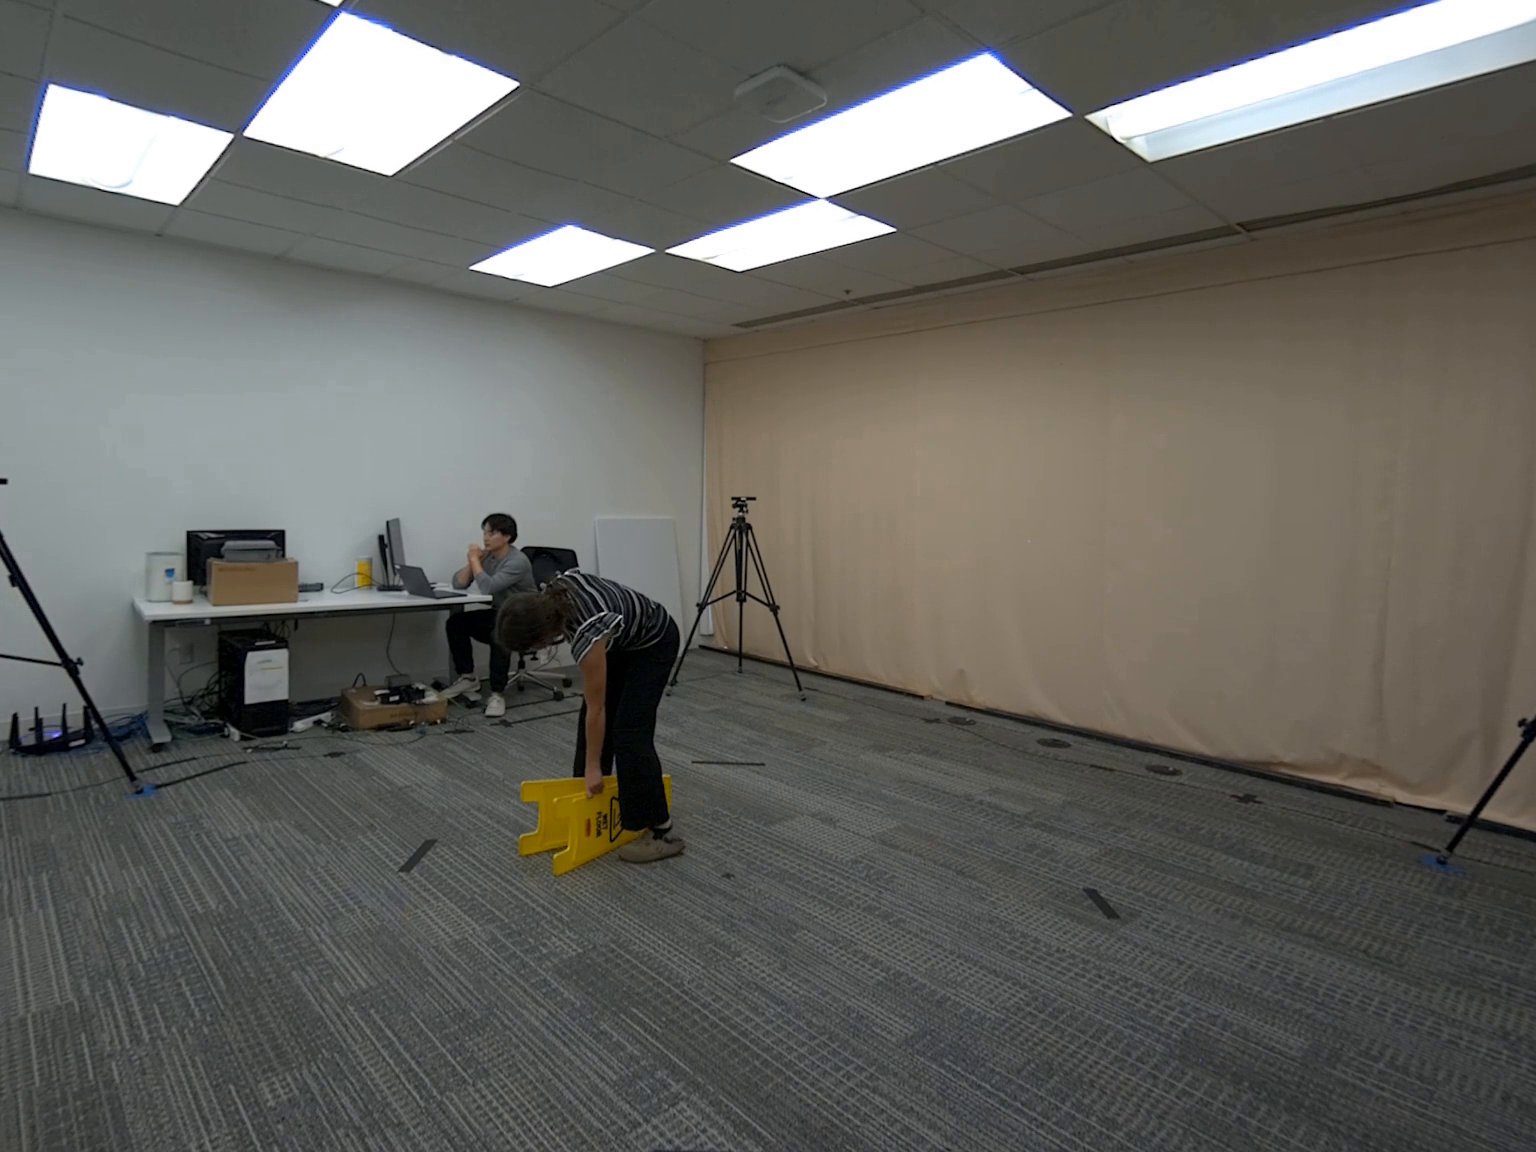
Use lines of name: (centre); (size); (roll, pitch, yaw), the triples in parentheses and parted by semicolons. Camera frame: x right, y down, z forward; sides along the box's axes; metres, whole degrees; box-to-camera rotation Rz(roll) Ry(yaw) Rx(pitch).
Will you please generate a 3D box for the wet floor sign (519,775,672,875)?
wet floor sign: (-0.657, 0.948, 3.379); (0.297, 0.282, 0.630); (3, 2, 44)
